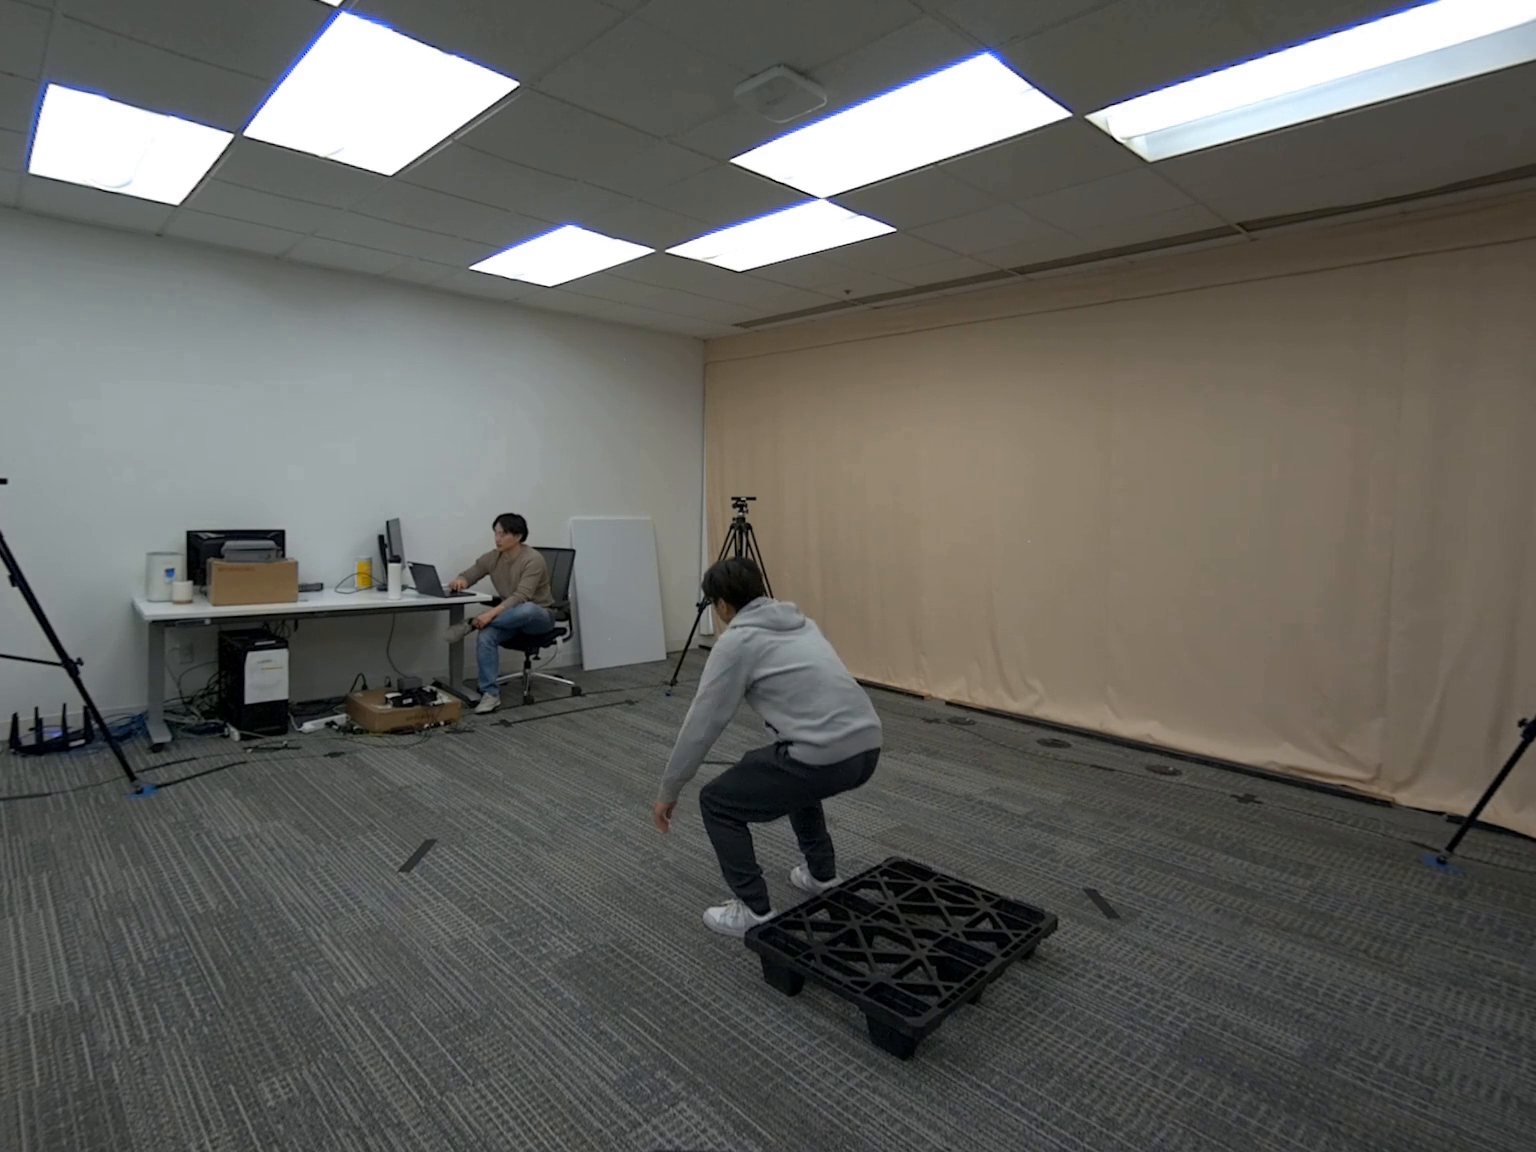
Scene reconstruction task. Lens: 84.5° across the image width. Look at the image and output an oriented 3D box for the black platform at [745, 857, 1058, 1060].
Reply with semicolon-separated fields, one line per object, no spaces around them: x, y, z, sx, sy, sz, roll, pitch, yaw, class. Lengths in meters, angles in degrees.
0.396;1.105;2.521;0.621;0.143;0.787;6;7;43;black platform
